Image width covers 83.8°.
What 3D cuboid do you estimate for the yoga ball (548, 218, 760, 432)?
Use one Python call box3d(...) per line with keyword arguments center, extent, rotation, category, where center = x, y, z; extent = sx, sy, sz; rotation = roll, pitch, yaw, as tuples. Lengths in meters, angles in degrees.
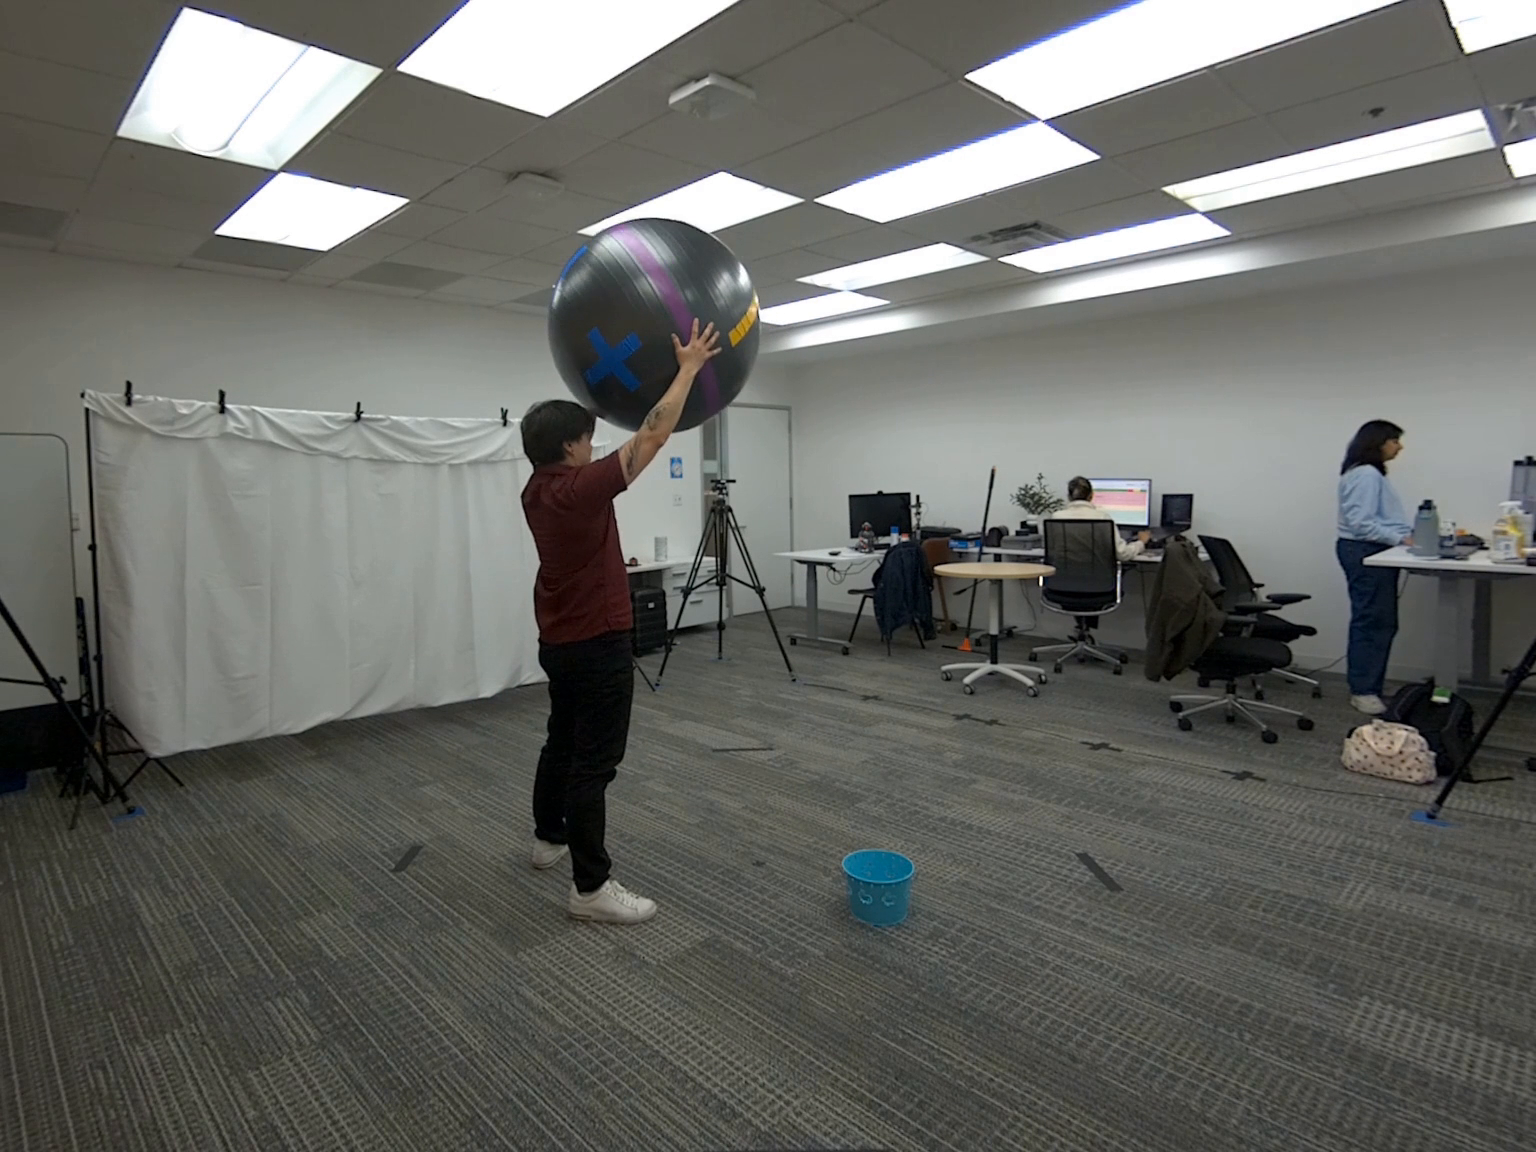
box3d(center=(-0.403, -0.884, 3.072), extent=(0.757, 0.755, 0.762), rotation=(-1, 5, -2), category="yoga ball")
